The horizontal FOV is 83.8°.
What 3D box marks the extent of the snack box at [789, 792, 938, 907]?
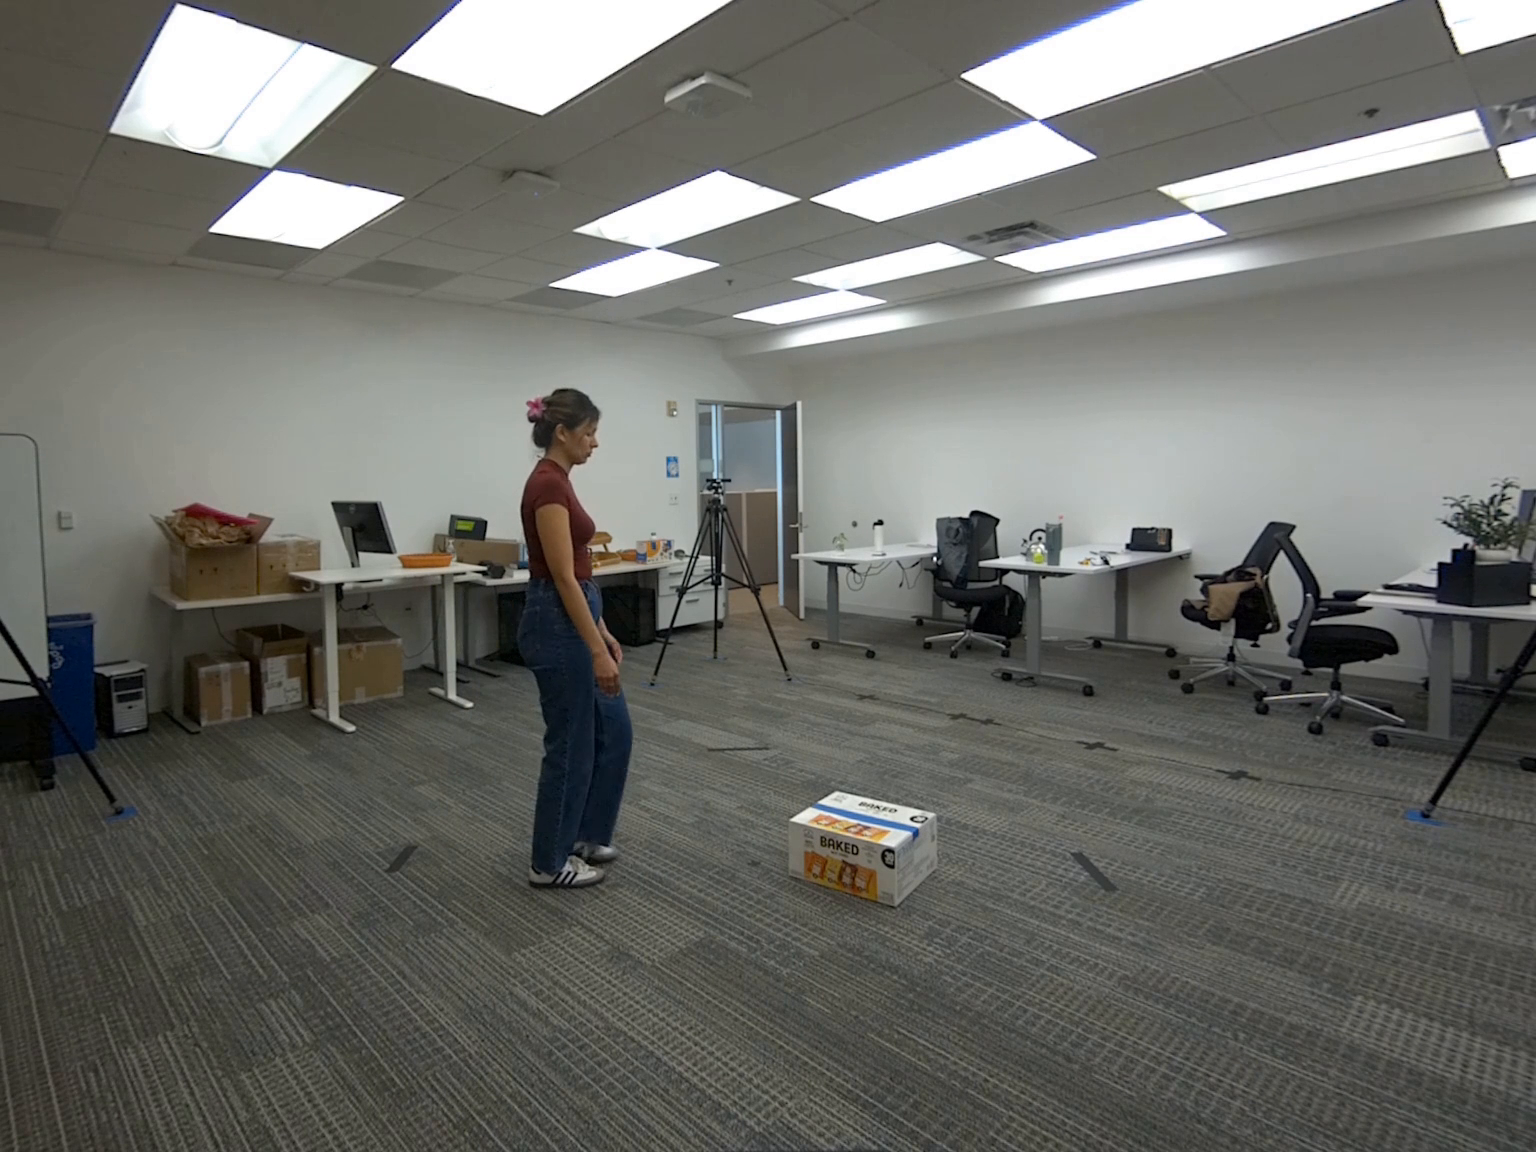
[{"bbox_3d":[0.336,0.945,3.008,0.417,0.205,0.332,3,7,34],"label":"snack box"}]
